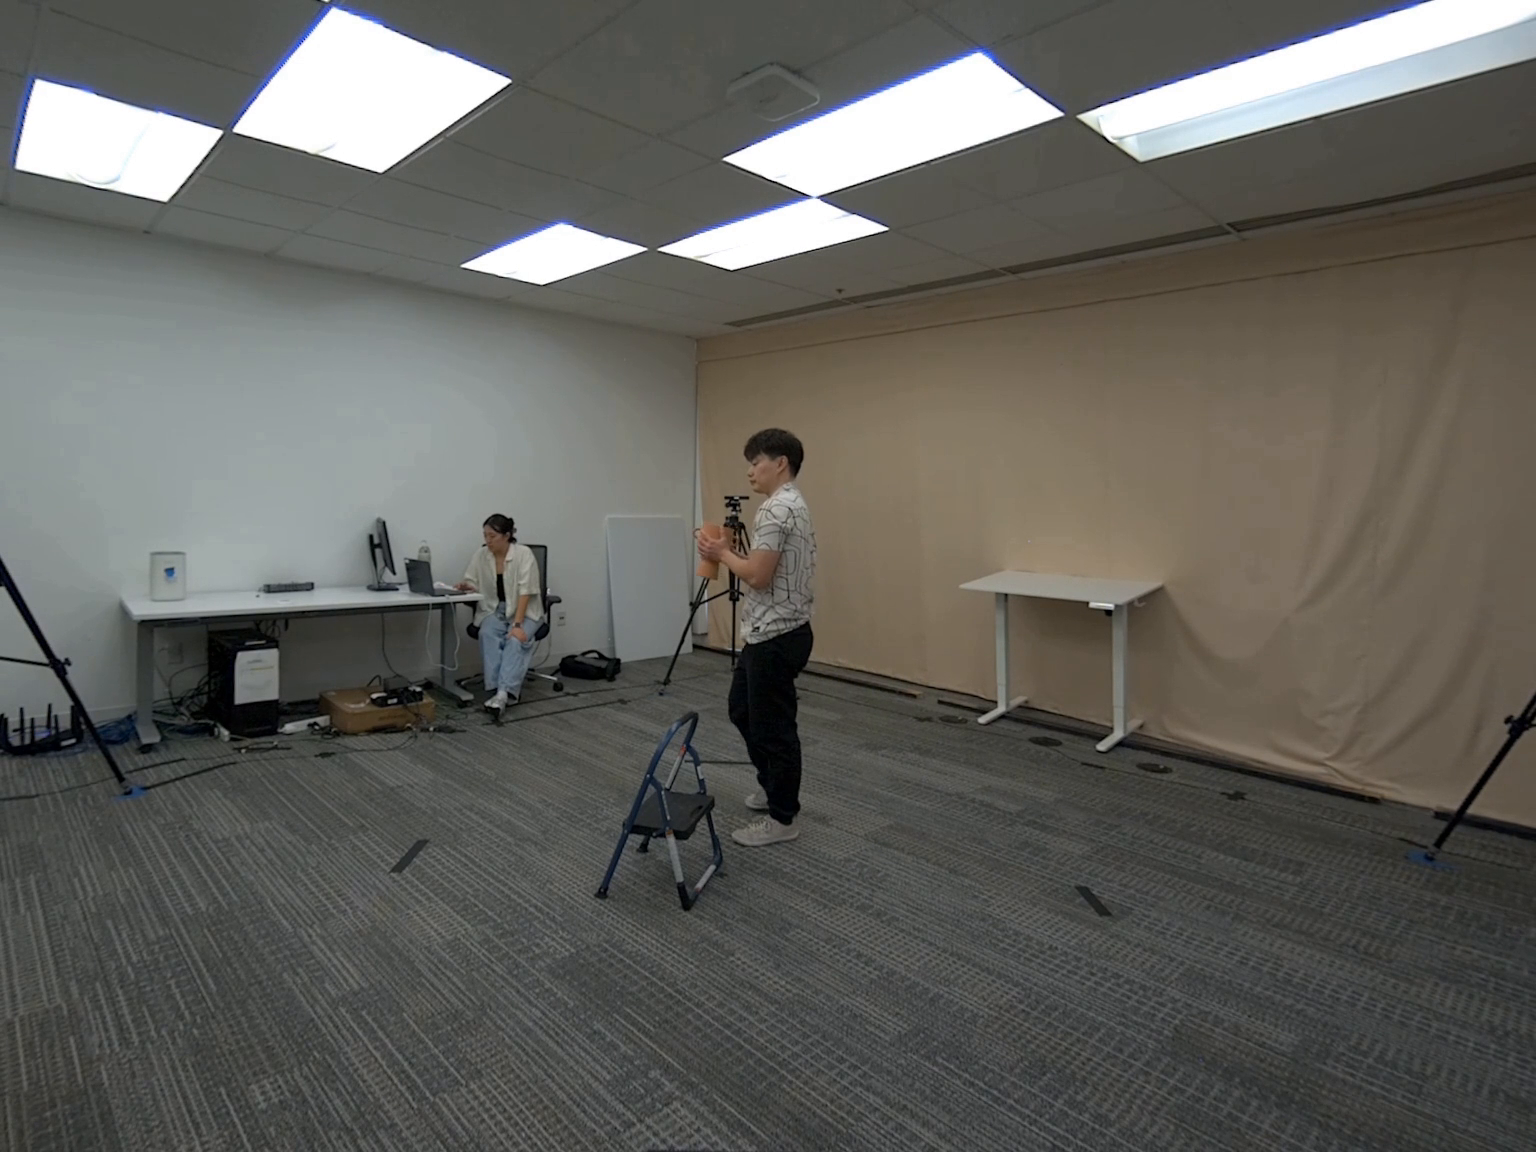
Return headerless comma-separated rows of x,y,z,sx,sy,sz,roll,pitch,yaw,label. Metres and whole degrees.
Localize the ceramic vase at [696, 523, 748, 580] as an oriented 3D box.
-0.231,-0.099,3.478,0.163,0.219,0.131,14,1,40,ceramic vase
